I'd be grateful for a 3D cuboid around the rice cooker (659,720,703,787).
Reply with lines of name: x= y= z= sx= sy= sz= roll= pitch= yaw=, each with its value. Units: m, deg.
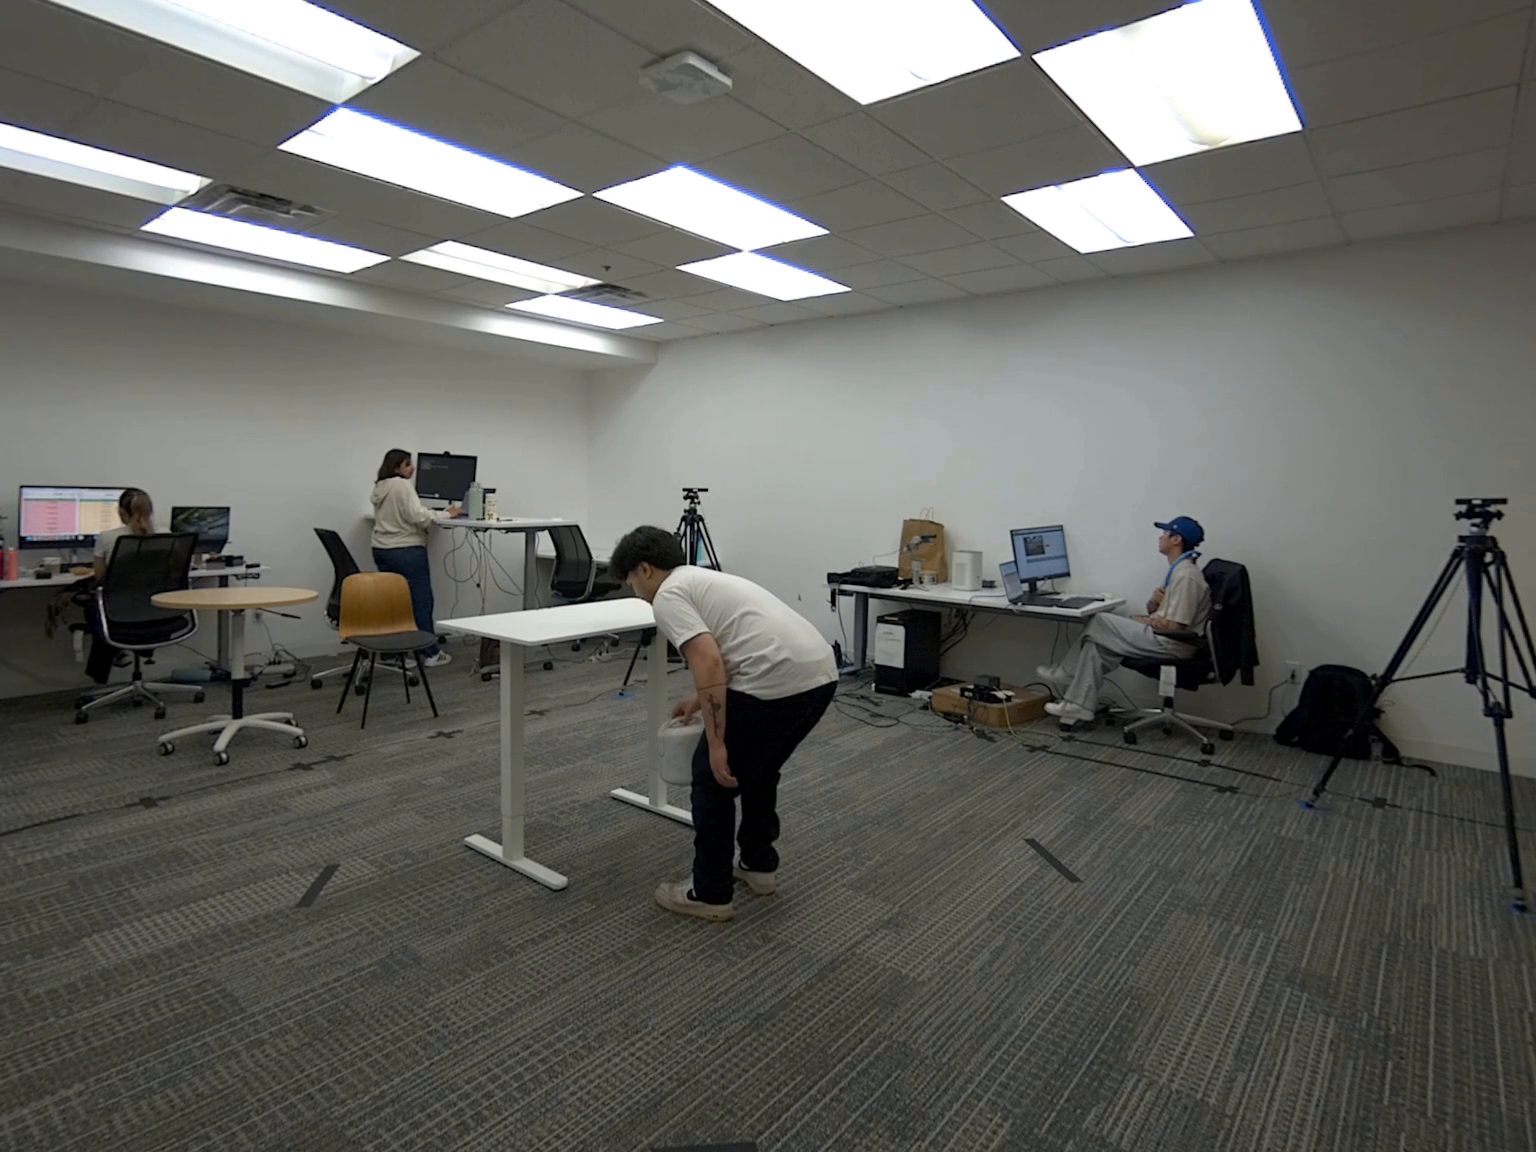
rice cooker: x=-0.312 y=0.625 z=3.097 sx=0.215 sy=0.232 sz=0.224 roll=-7 pitch=3 yaw=-35
